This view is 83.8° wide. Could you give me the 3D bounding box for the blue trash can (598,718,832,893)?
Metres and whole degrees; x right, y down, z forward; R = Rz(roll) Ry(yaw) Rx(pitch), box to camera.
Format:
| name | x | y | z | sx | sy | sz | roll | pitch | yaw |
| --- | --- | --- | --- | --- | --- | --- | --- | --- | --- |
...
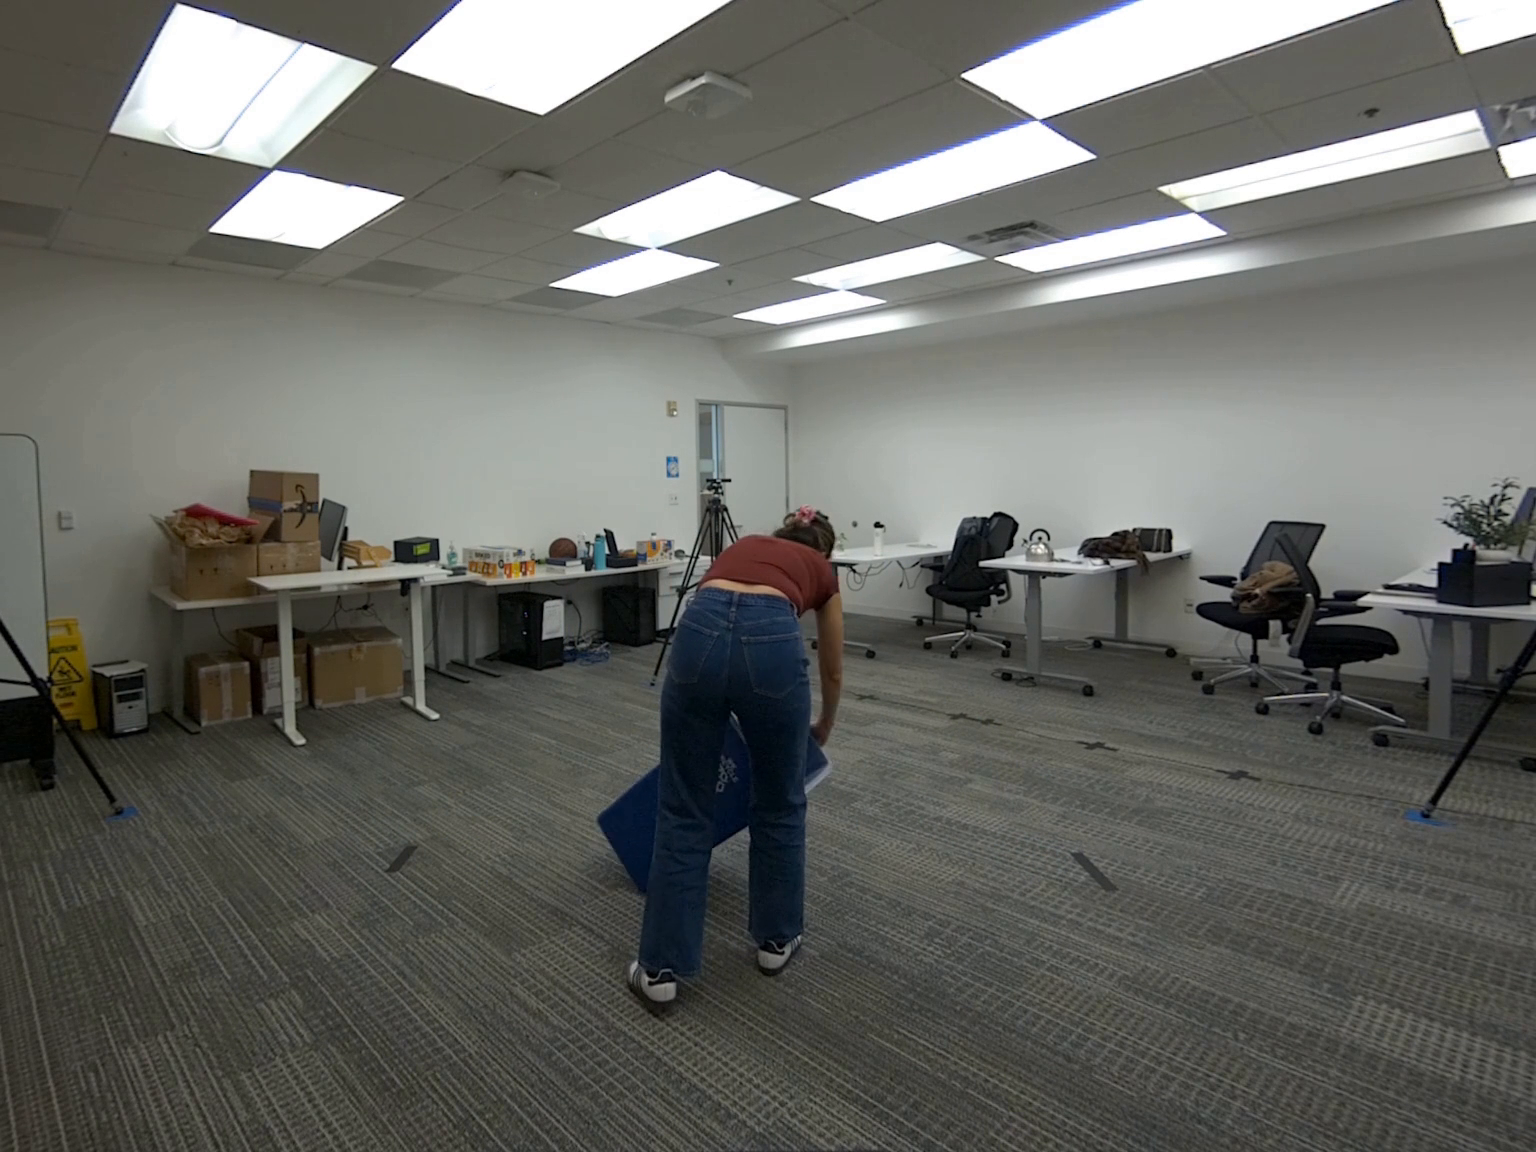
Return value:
| name | x | y | z | sx | sy | sz | roll | pitch | yaw |
| --- | --- | --- | --- | --- | --- | --- | --- | --- | --- |
| blue trash can | -0.192 | 0.735 | 2.903 | 0.715 | 0.381 | 0.371 | -42 | -14 | 24 |
